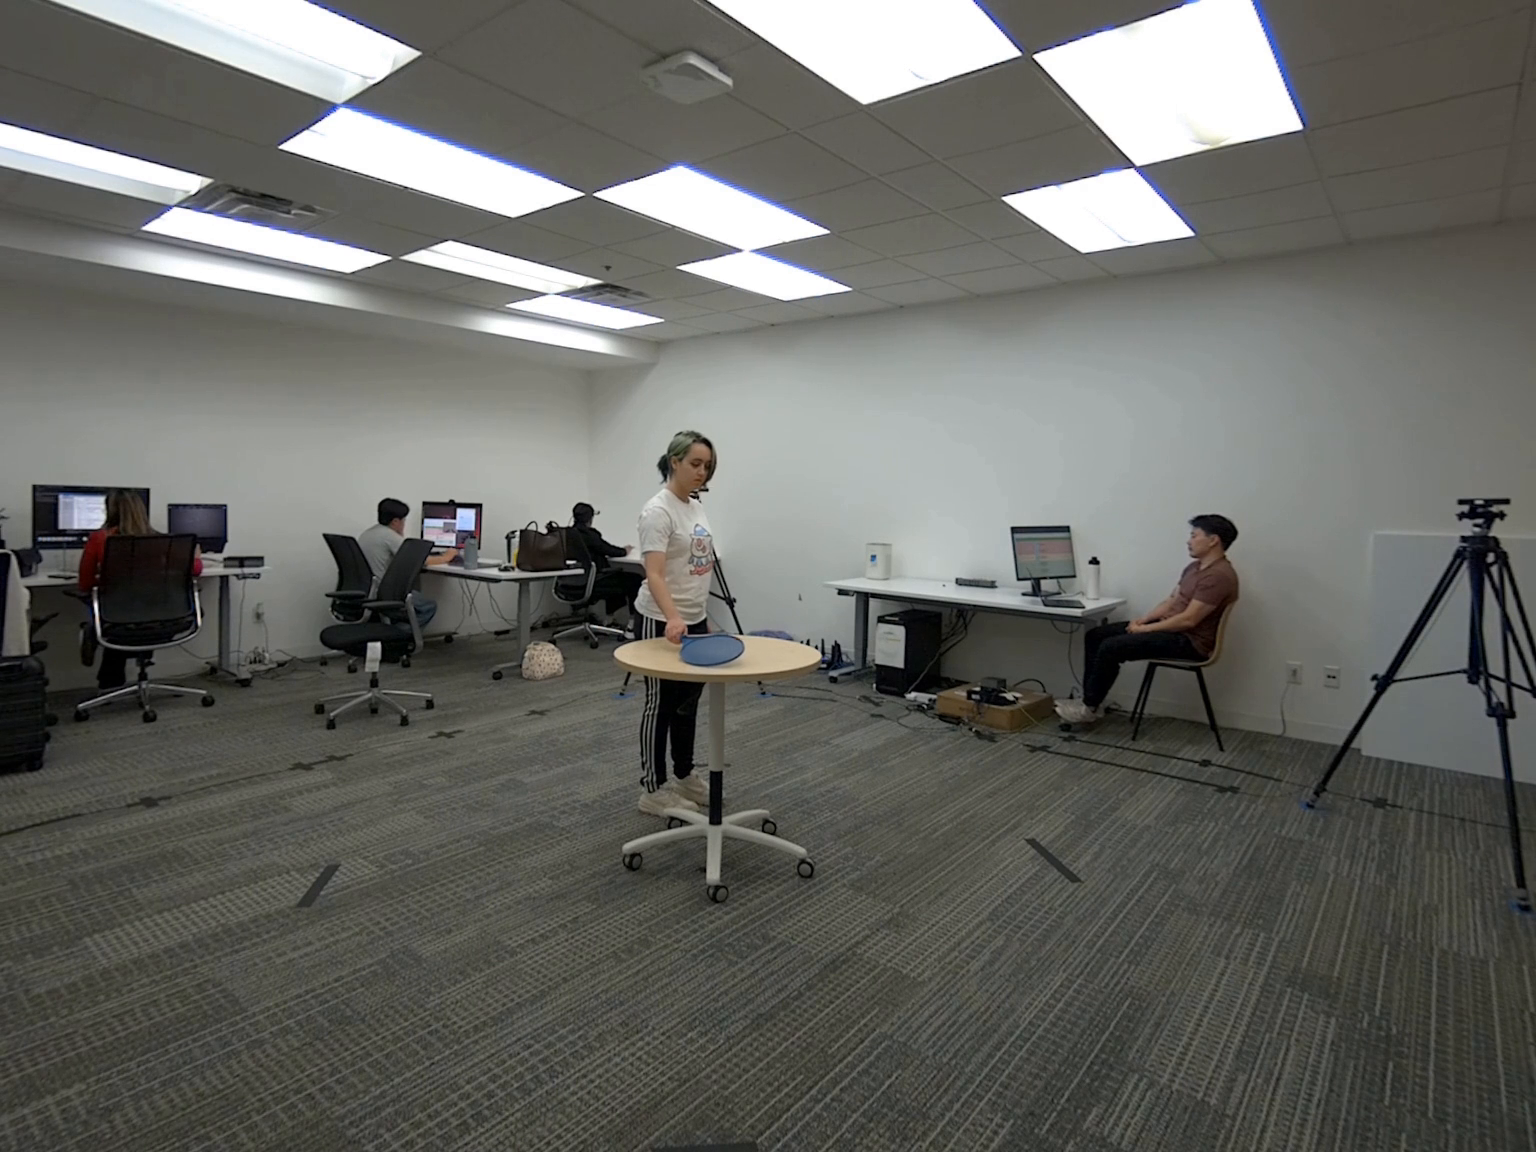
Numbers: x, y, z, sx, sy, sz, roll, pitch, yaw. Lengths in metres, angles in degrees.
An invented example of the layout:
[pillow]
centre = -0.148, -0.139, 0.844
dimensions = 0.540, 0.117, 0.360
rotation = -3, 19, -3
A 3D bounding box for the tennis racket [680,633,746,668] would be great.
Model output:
[tennis racket]
centre = -0.255, 0.250, 3.050
dimensions = 0.210, 0.031, 0.448
rotation = -21, 19, -30
